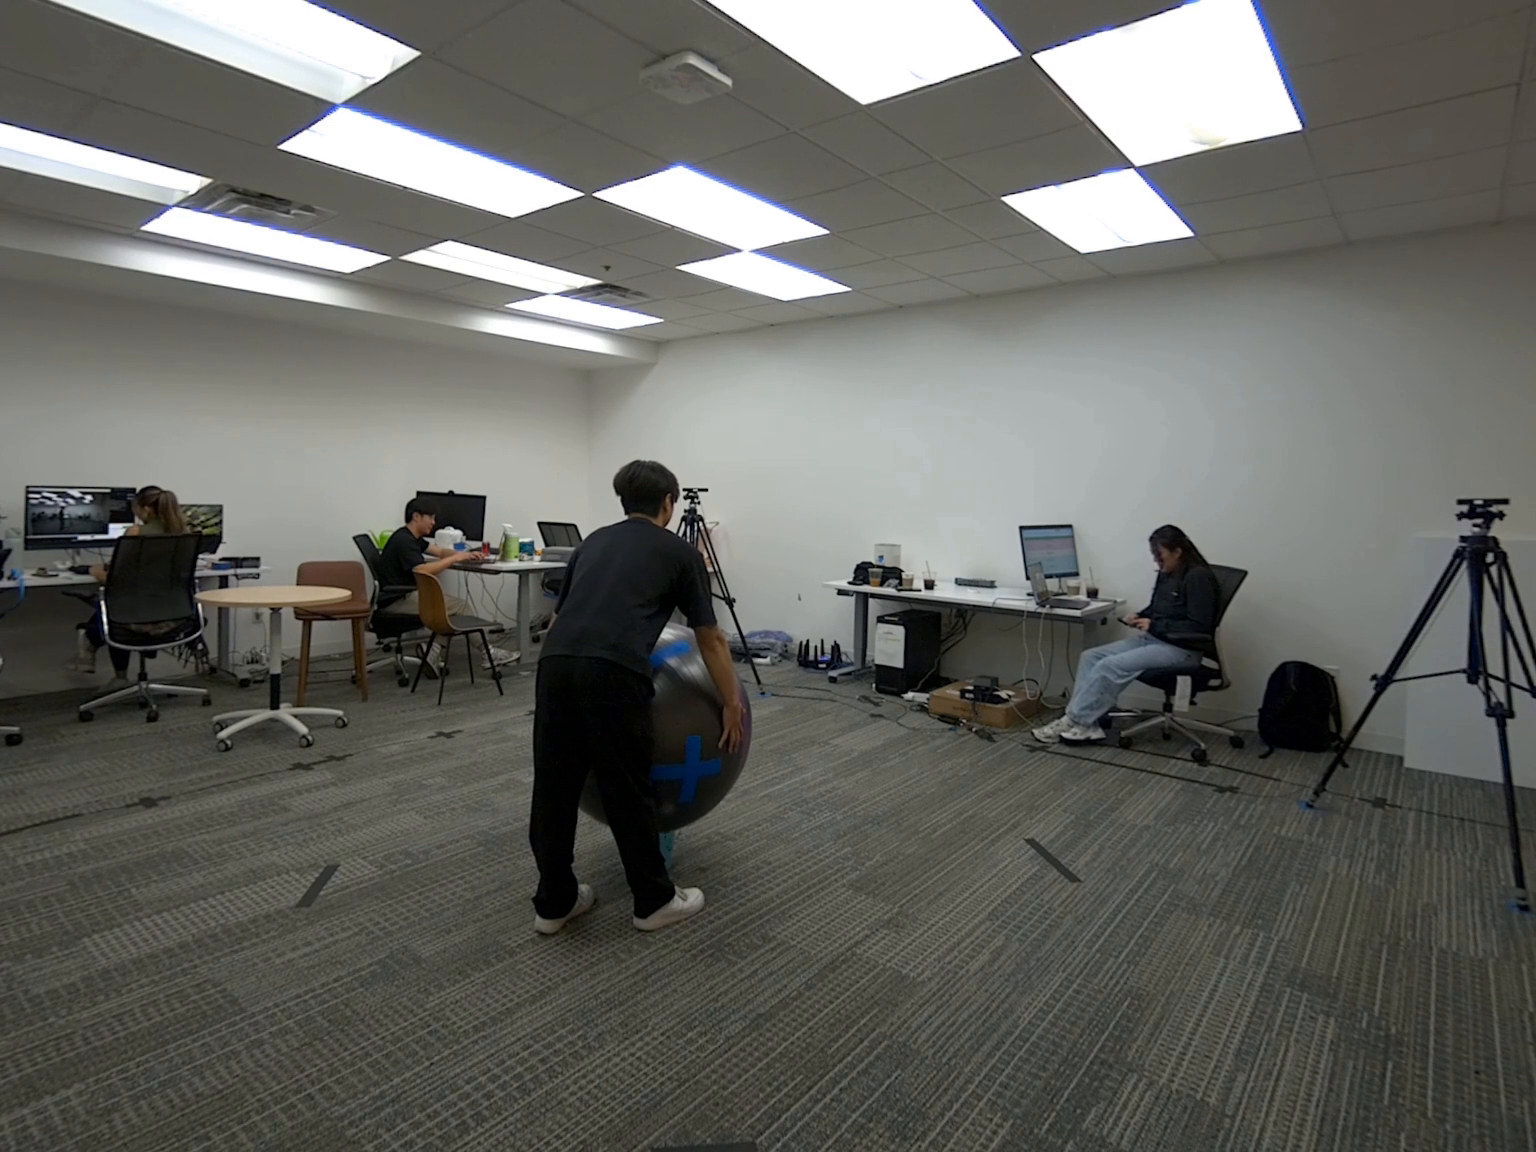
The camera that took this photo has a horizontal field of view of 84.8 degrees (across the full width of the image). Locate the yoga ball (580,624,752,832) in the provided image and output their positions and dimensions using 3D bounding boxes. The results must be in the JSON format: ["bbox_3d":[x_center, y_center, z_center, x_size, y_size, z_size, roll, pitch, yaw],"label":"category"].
[{"bbox_3d":[-0.446,0.538,3.124,0.757,0.756,0.761,1,4,-2],"label":"yoga ball"}]
